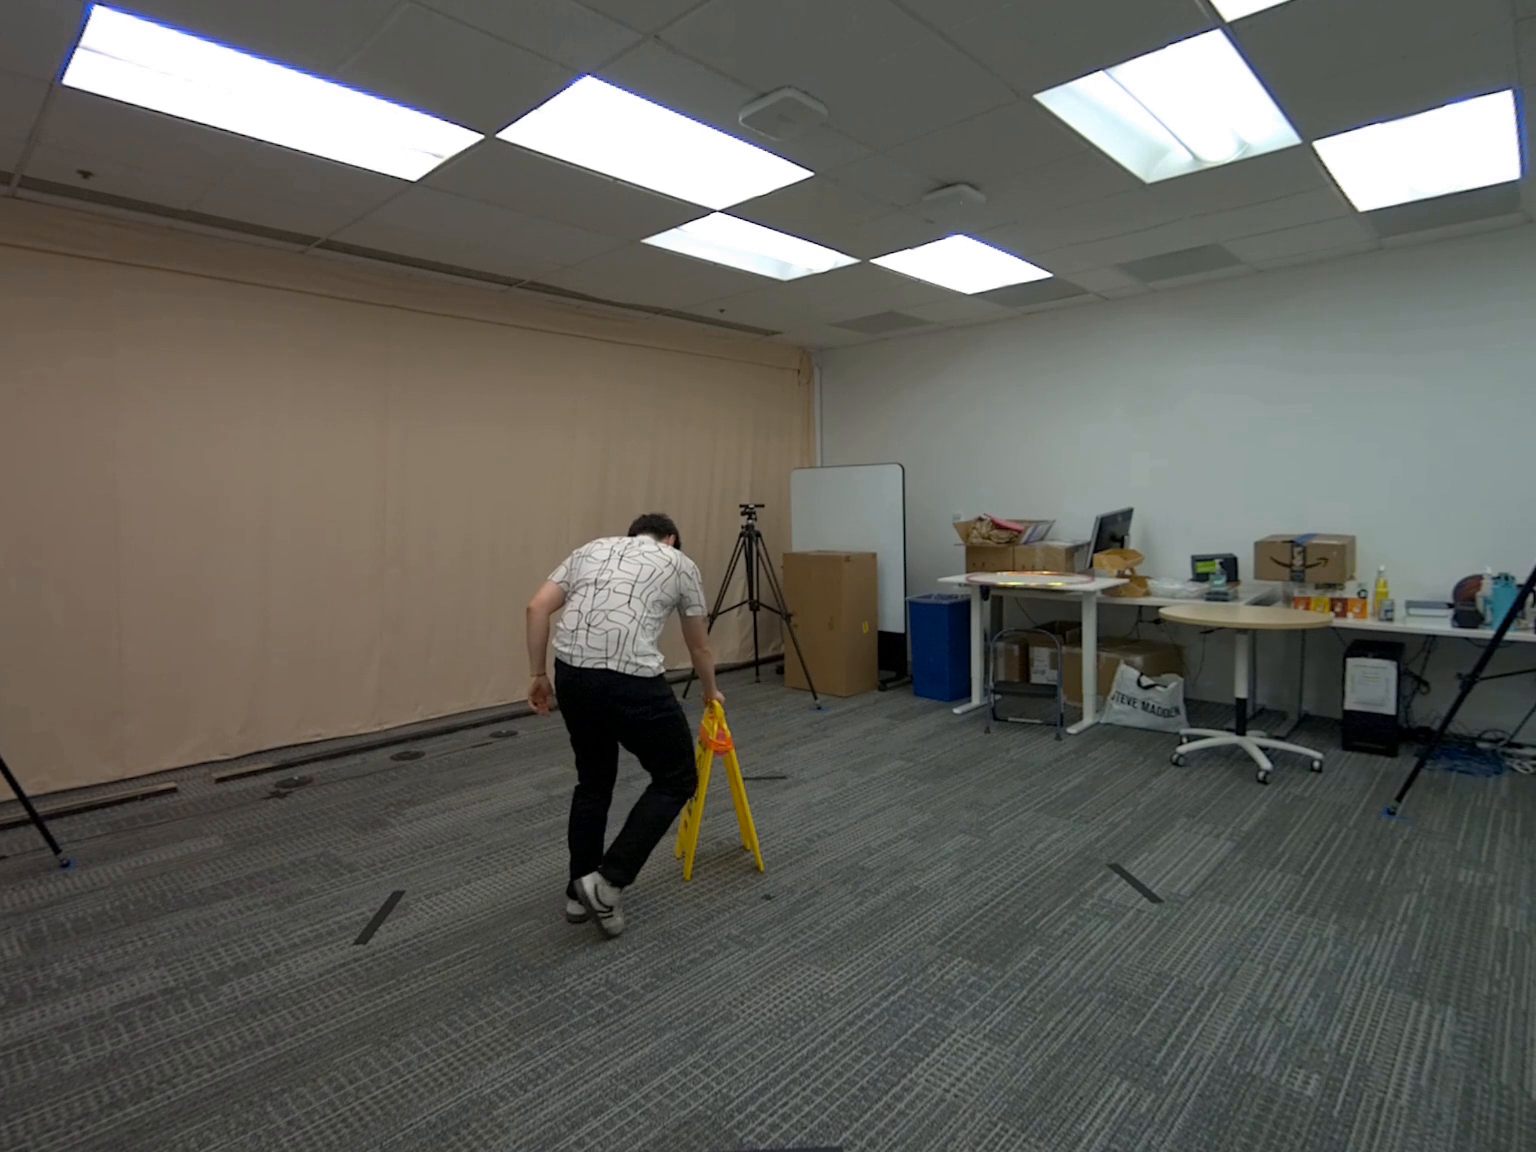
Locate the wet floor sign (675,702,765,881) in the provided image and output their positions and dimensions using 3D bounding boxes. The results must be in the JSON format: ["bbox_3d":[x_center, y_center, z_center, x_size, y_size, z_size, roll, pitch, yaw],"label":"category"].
[{"bbox_3d":[-0.199,0.792,3.270,0.286,0.645,0.286,-2,2,-14],"label":"wet floor sign"}]
